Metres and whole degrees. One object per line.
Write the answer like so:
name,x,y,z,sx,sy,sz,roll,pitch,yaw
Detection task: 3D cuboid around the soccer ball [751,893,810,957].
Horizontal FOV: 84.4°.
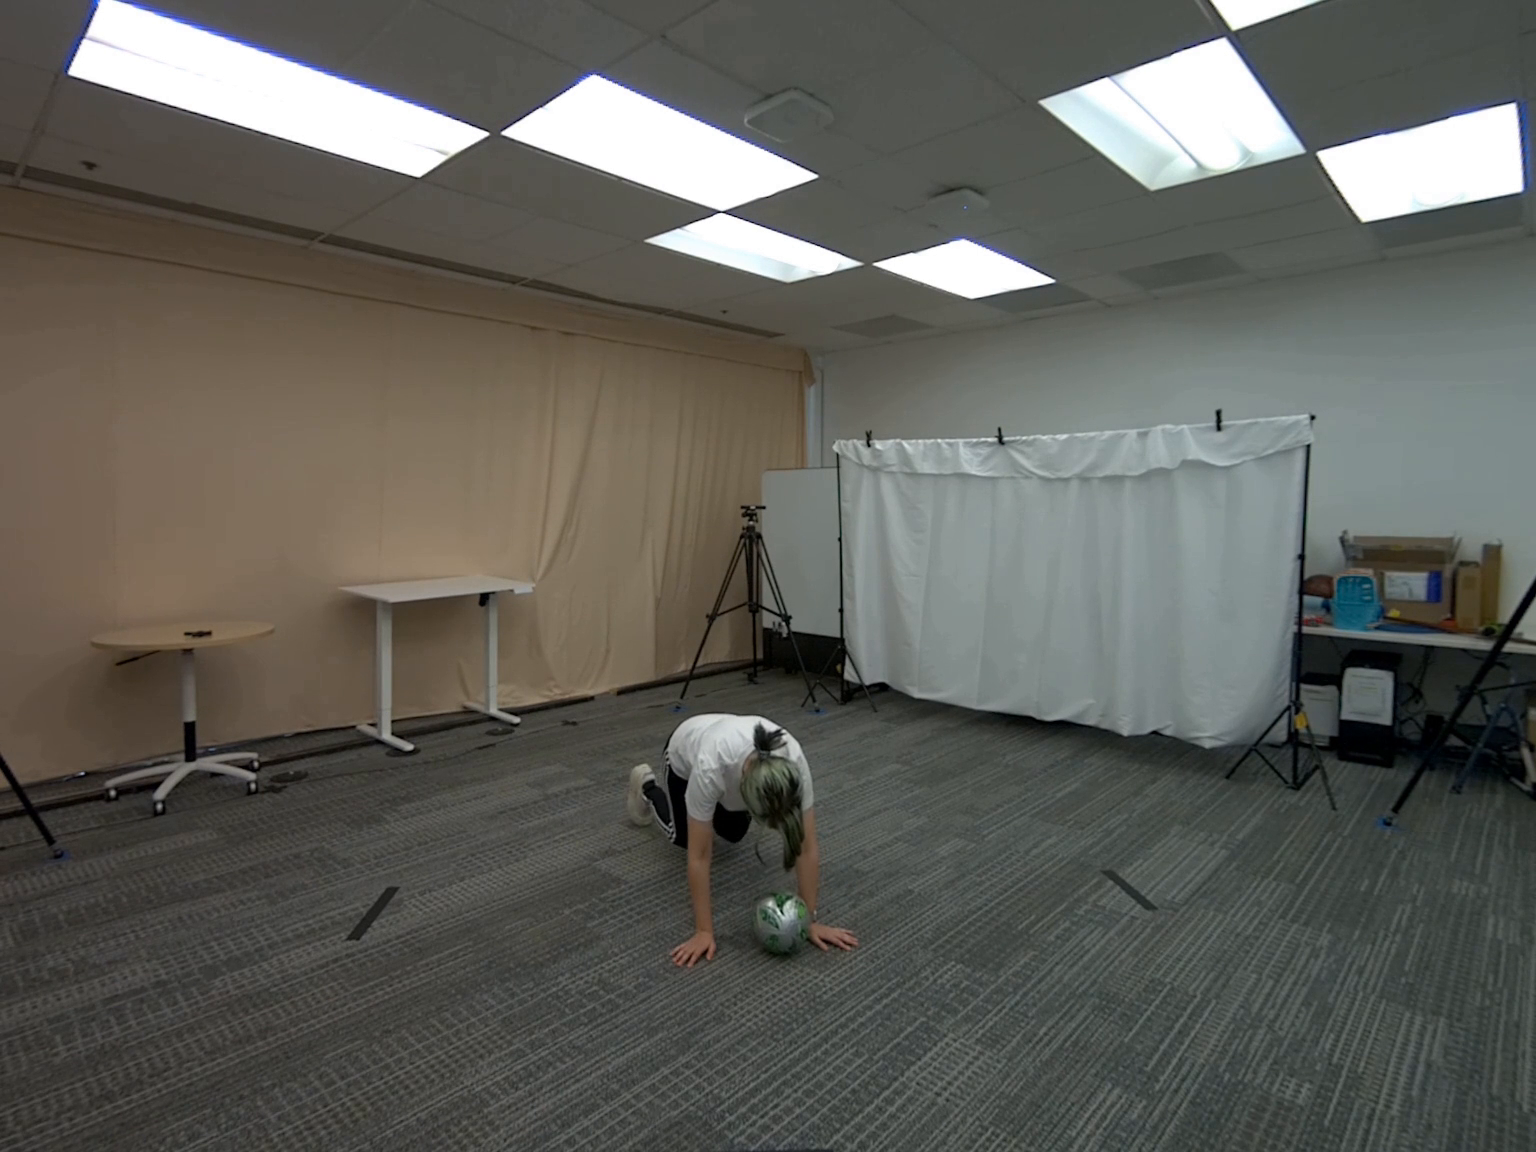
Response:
soccer ball,0.046,1.081,2.628,0.187,0.187,0.188,0,4,-2
